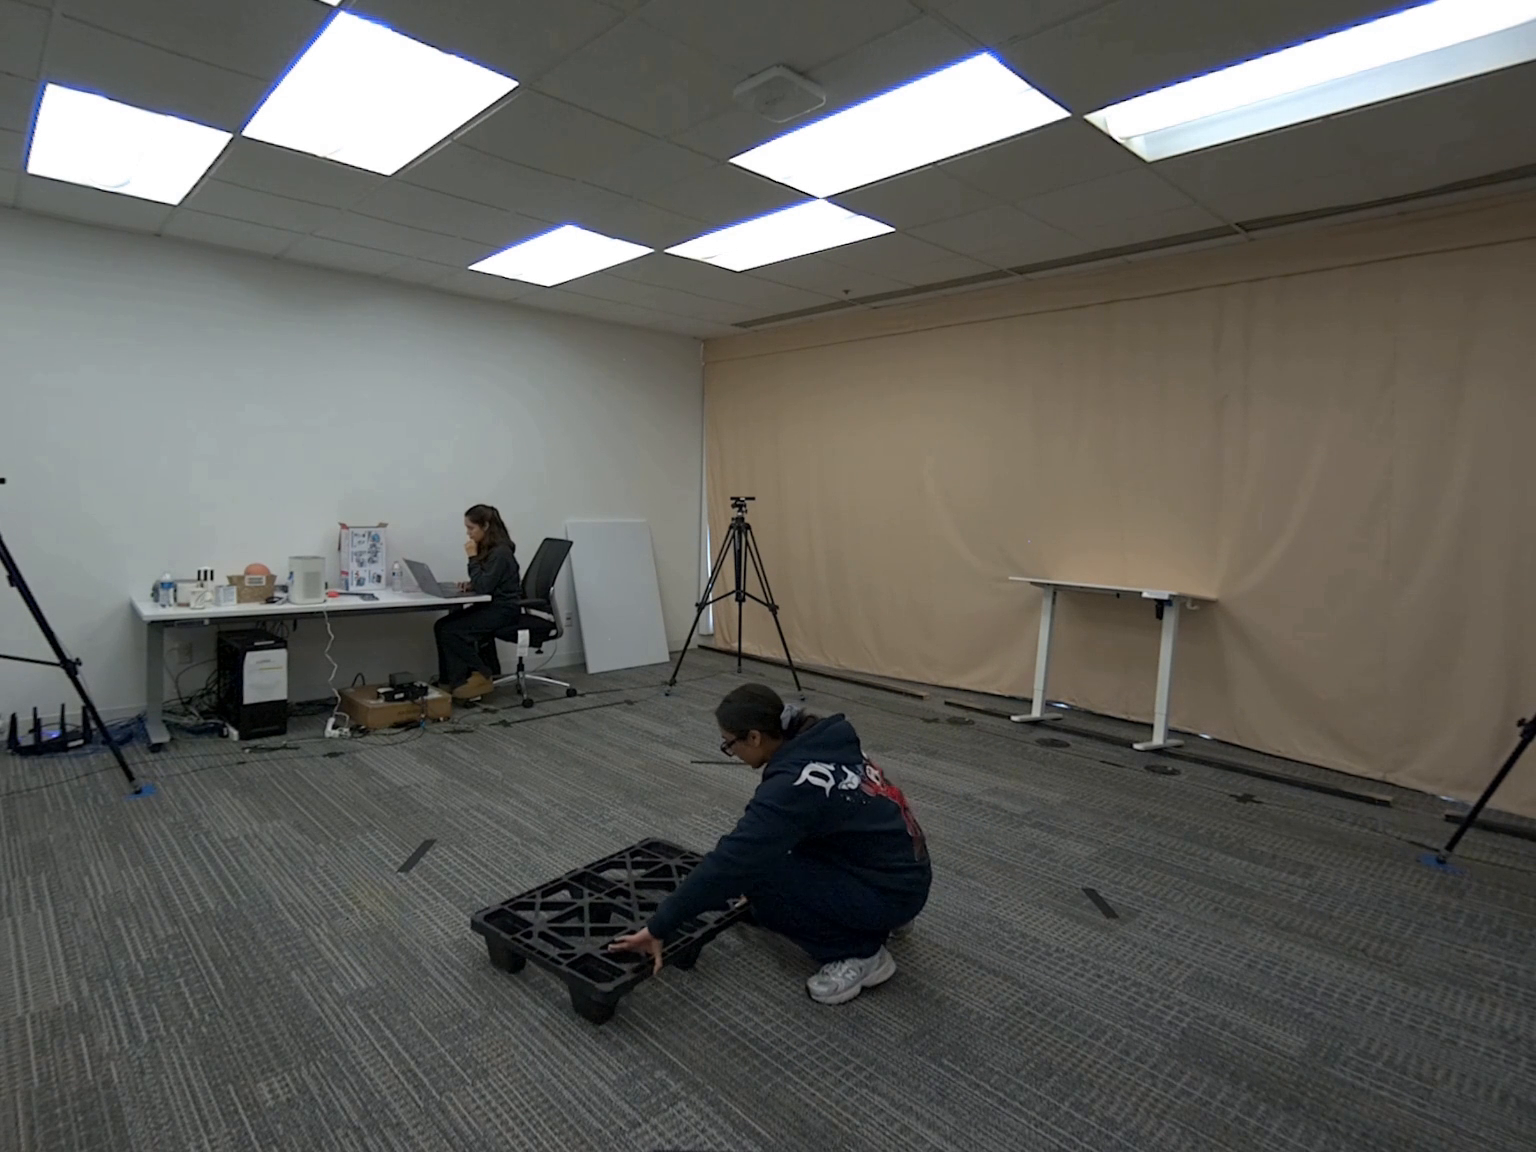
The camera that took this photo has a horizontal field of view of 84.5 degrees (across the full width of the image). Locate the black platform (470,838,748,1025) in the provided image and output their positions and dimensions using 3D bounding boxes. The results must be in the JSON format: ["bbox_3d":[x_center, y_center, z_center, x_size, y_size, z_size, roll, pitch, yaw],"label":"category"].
[{"bbox_3d":[-0.413,1.072,2.635,0.620,0.143,0.789,5,7,36],"label":"black platform"}]
